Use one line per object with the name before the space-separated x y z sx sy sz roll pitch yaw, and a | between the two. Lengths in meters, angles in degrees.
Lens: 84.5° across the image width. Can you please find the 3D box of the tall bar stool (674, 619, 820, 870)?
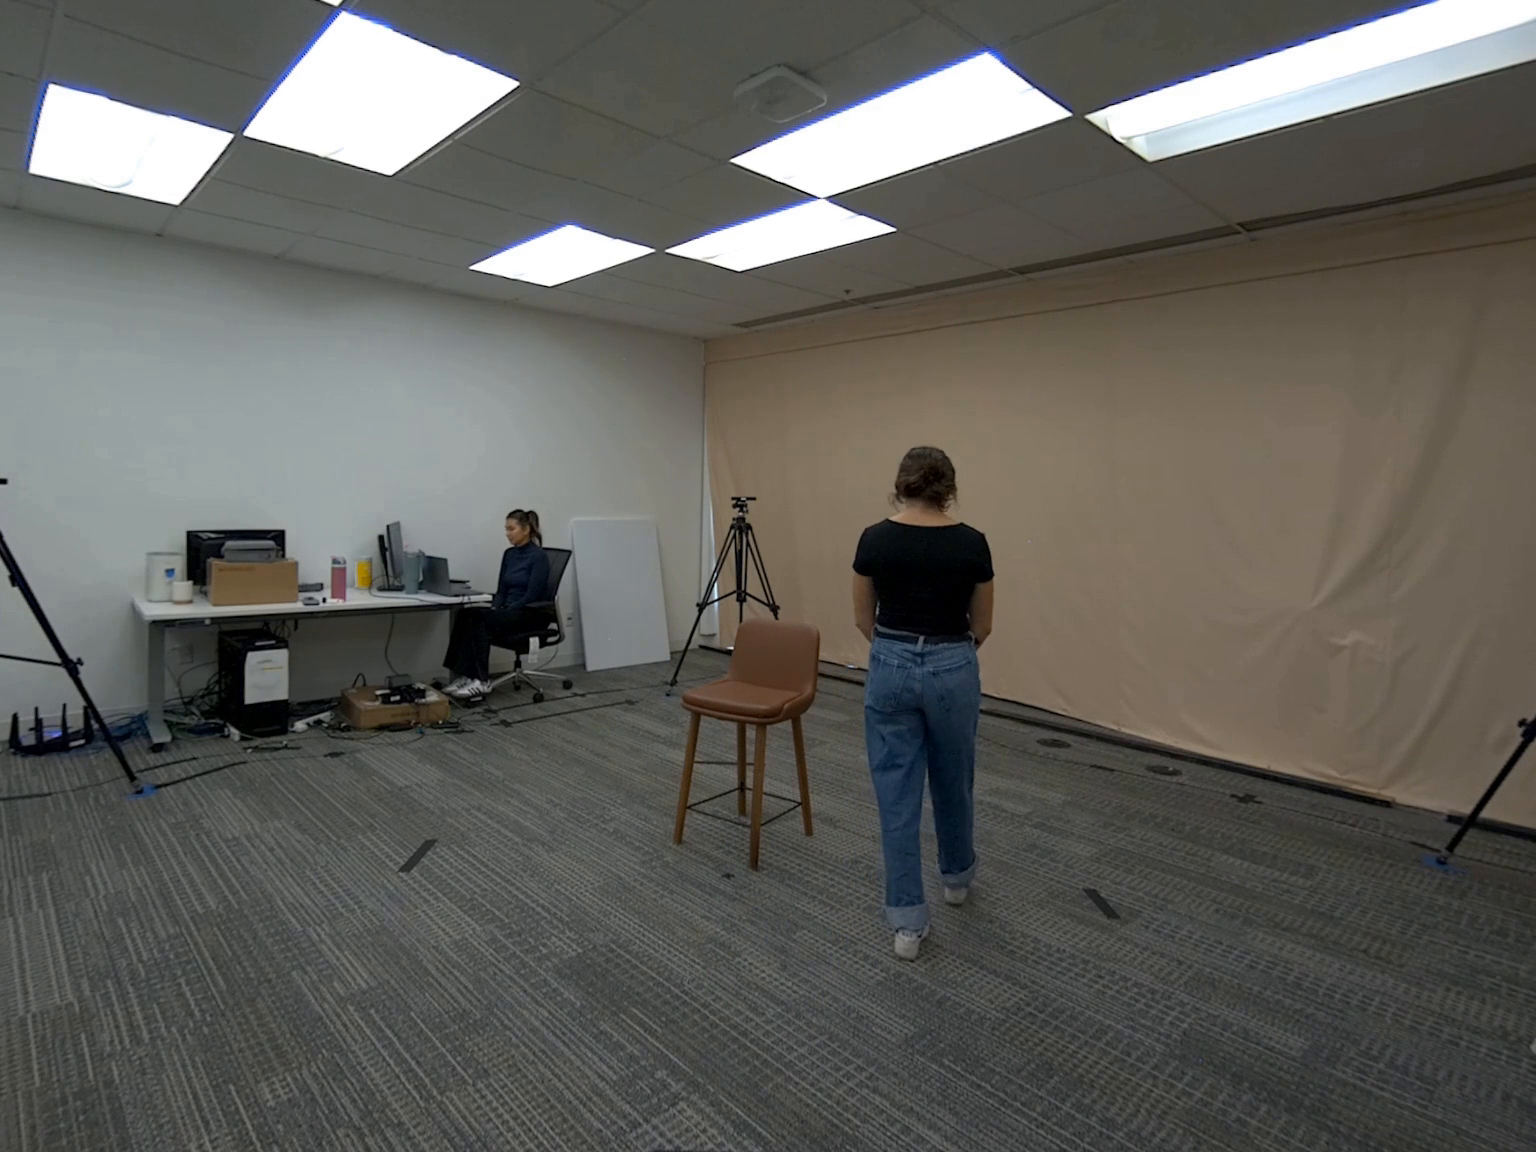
tall bar stool | -0.082 0.646 3.431 0.467 0.889 0.457 4 2 37
